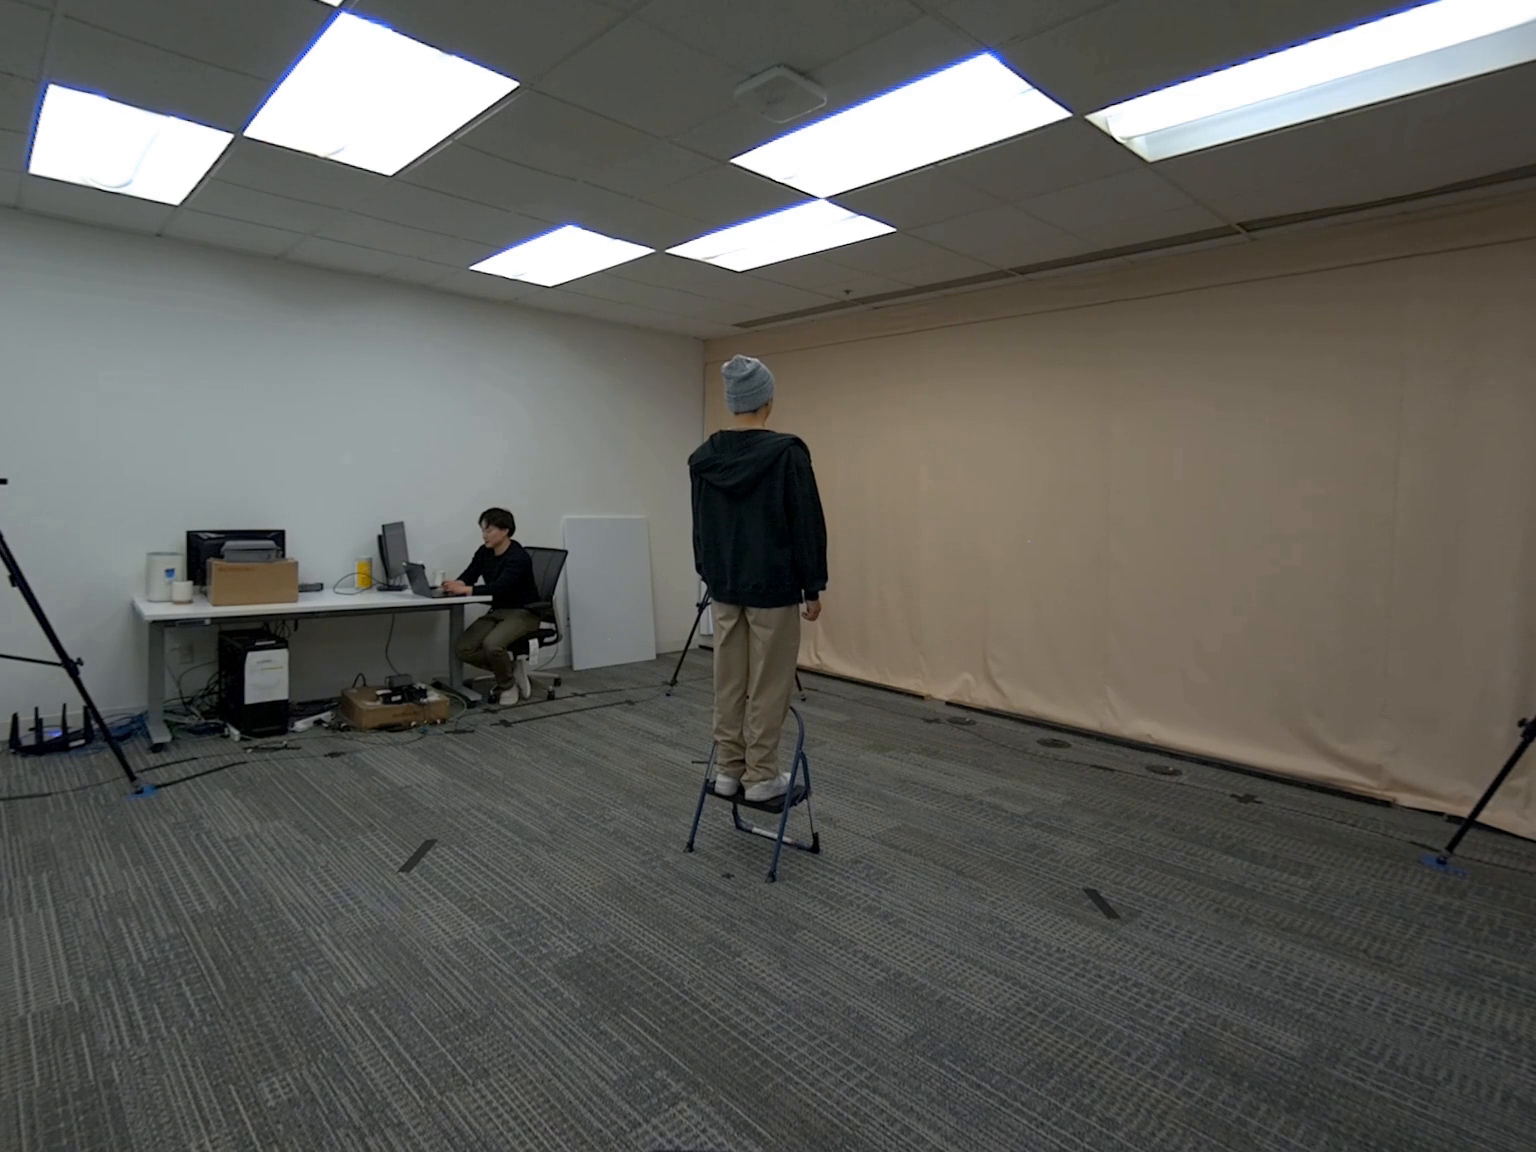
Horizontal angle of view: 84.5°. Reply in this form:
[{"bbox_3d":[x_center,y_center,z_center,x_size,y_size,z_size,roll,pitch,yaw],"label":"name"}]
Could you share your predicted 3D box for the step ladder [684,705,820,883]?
[{"bbox_3d":[-0.054,0.789,3.306,0.441,0.605,0.341,4,3,36],"label":"step ladder"}]
